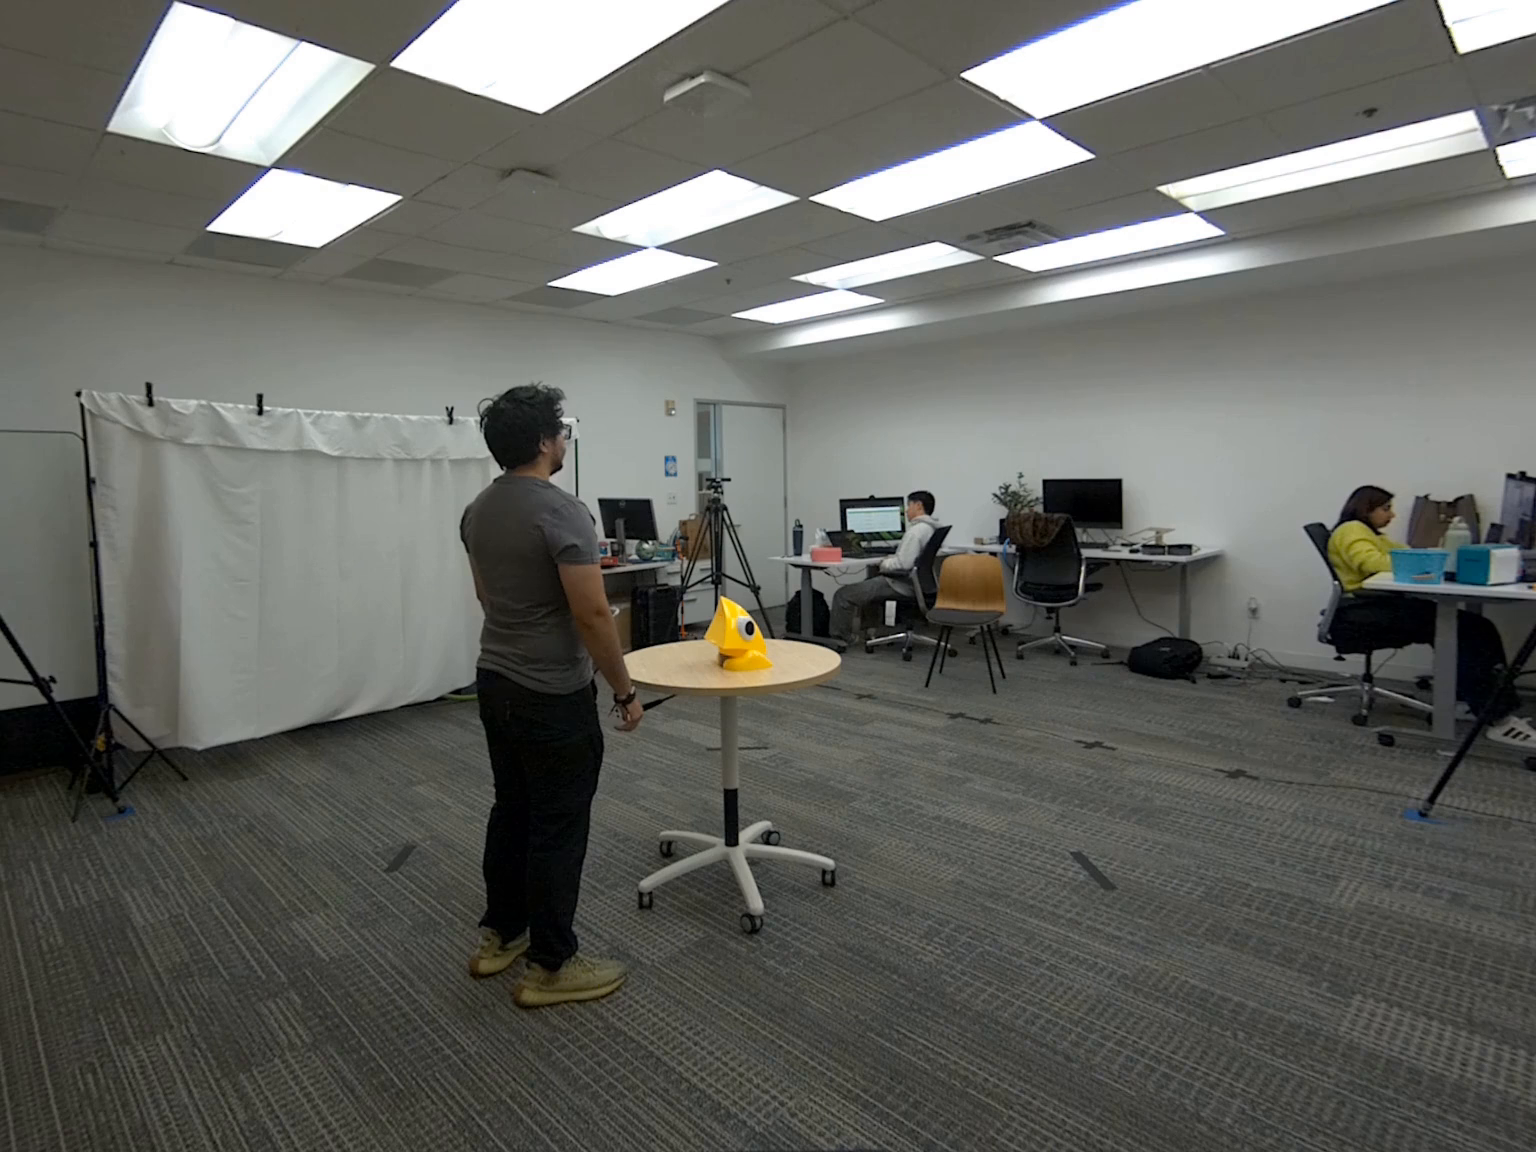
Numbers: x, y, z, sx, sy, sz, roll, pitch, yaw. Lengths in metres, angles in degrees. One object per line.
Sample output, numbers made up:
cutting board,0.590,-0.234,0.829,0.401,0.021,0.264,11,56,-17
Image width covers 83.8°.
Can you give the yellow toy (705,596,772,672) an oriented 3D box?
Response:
yellow toy,-0.091,0.179,2.822,0.189,0.230,0.209,-3,5,-21
